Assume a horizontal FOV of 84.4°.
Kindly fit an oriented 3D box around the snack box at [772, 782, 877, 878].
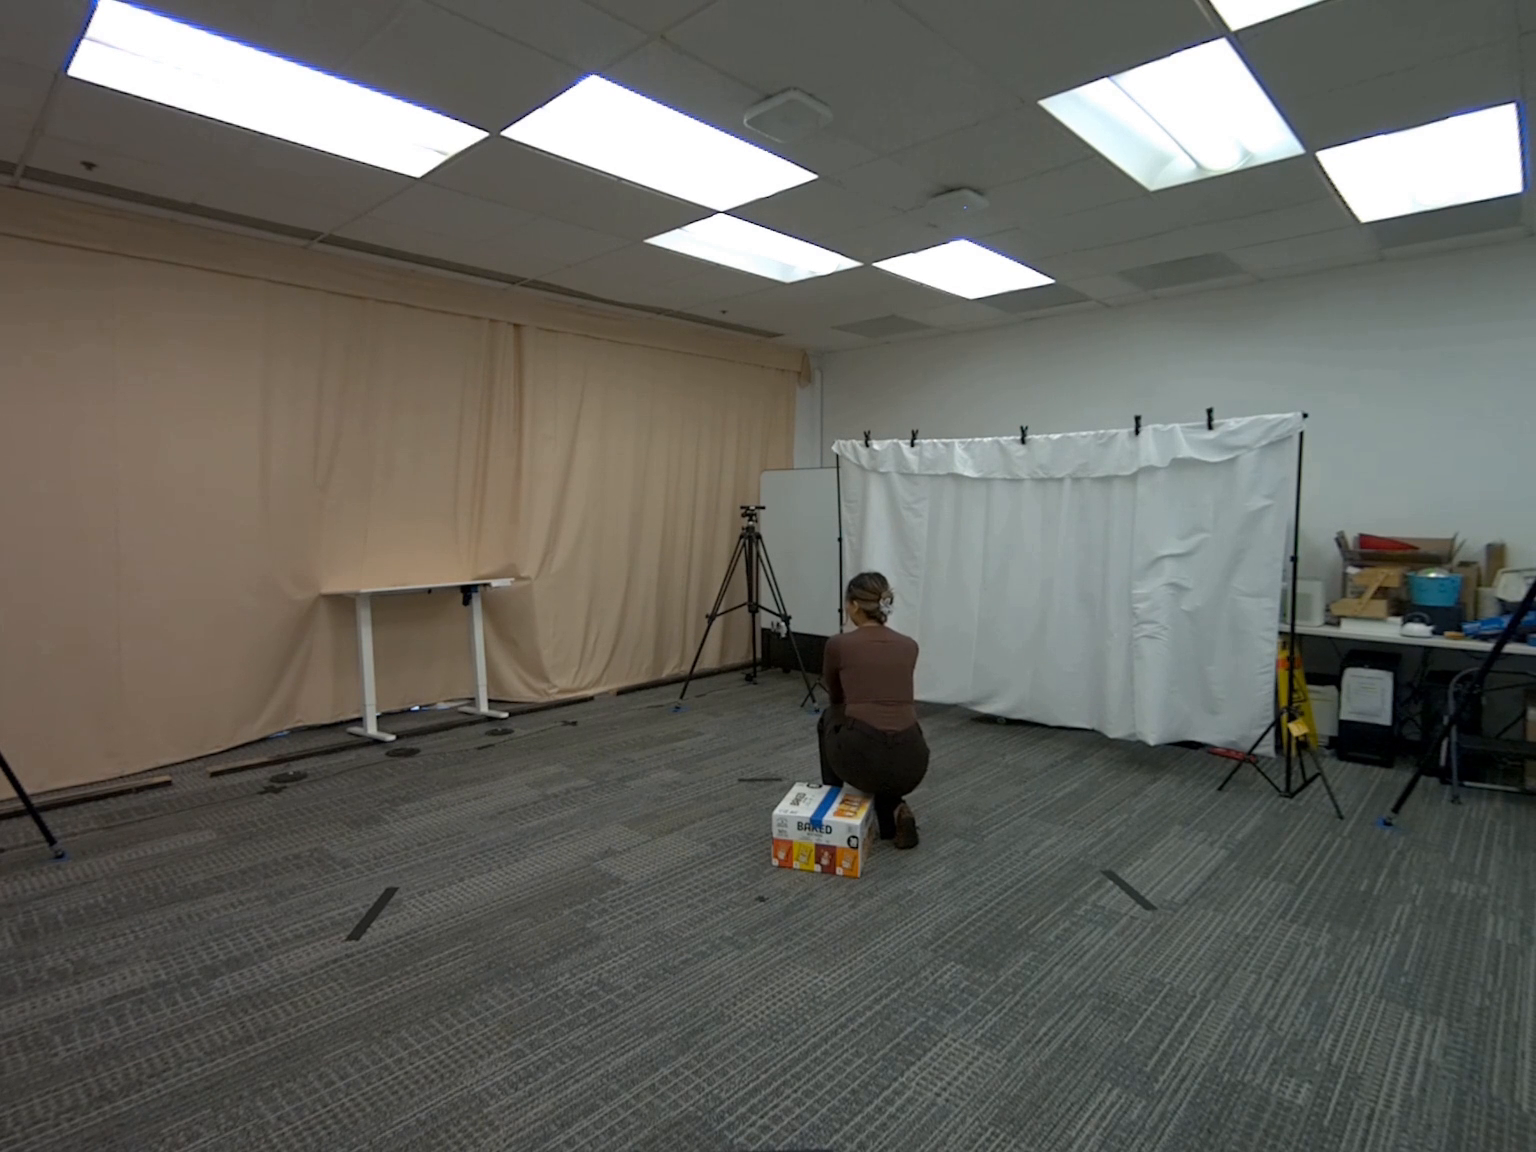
[{"bbox_3d":[0.235,1.007,3.382,0.347,0.205,0.398,1,5,18],"label":"snack box"}]
